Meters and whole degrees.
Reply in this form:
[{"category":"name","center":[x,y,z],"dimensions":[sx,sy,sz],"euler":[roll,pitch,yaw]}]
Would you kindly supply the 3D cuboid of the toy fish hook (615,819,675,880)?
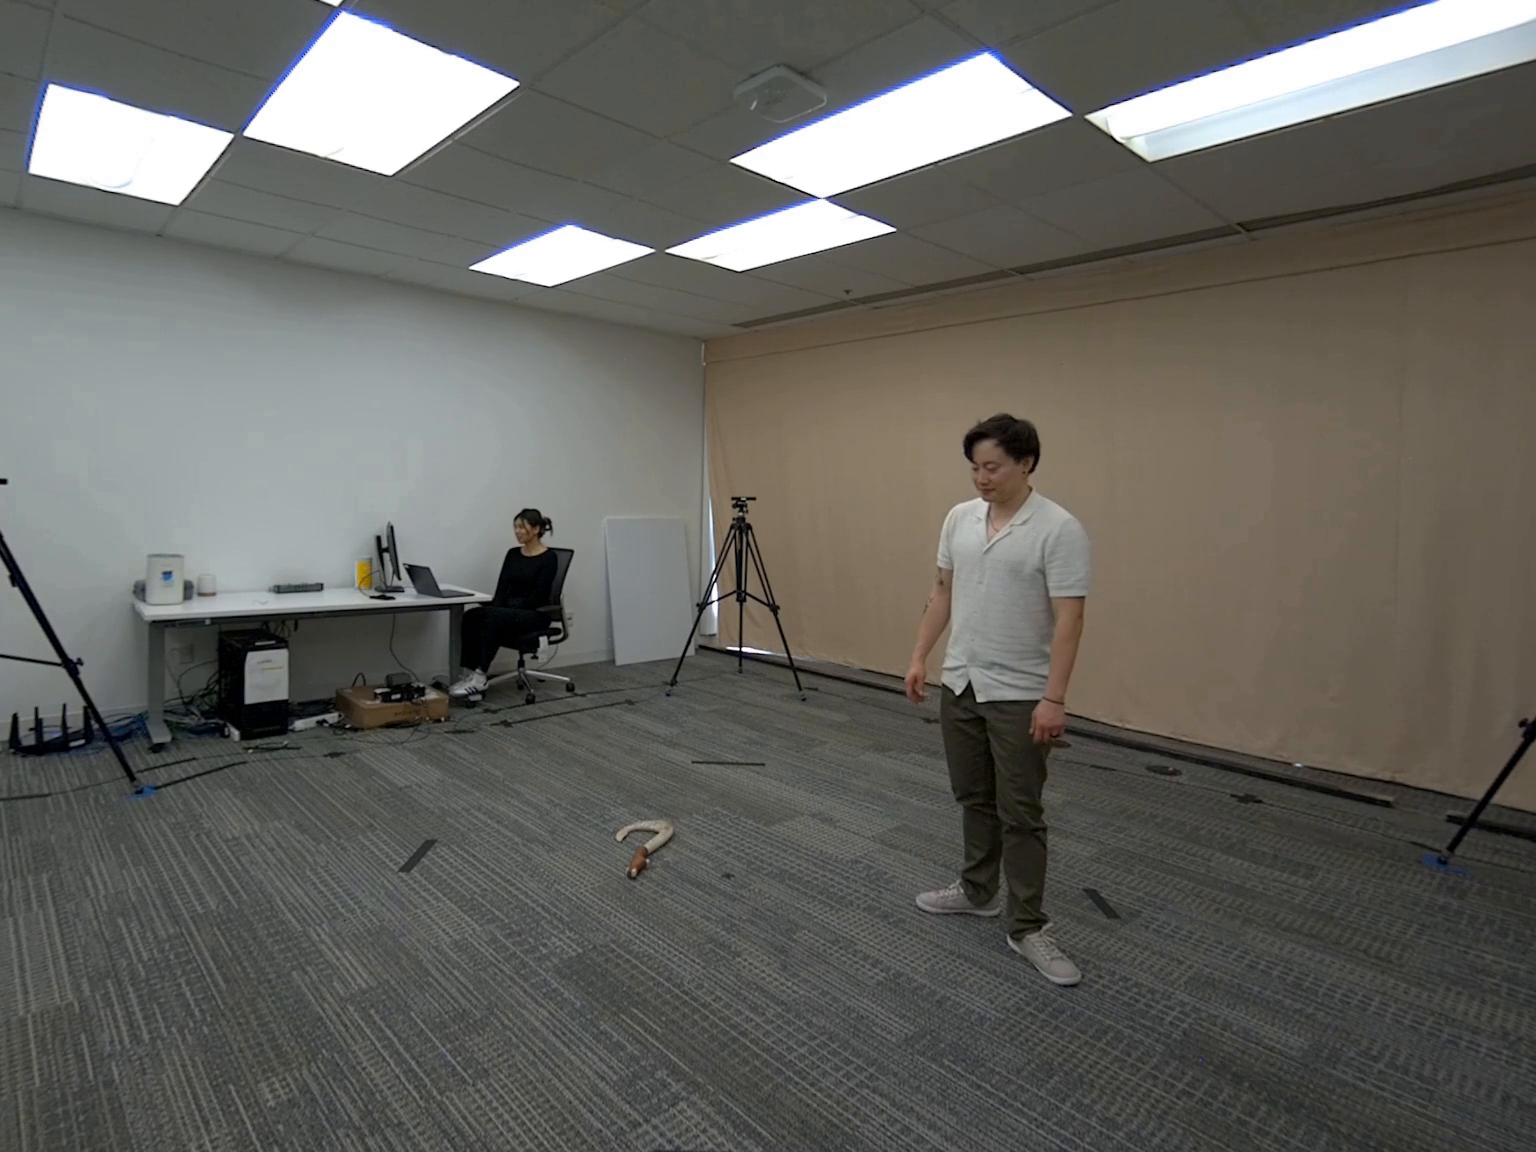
[{"category":"toy fish hook","center":[-0.524,1.062,3.299],"dimensions":[0.226,0.048,0.504],"euler":[-5,3,8]}]
